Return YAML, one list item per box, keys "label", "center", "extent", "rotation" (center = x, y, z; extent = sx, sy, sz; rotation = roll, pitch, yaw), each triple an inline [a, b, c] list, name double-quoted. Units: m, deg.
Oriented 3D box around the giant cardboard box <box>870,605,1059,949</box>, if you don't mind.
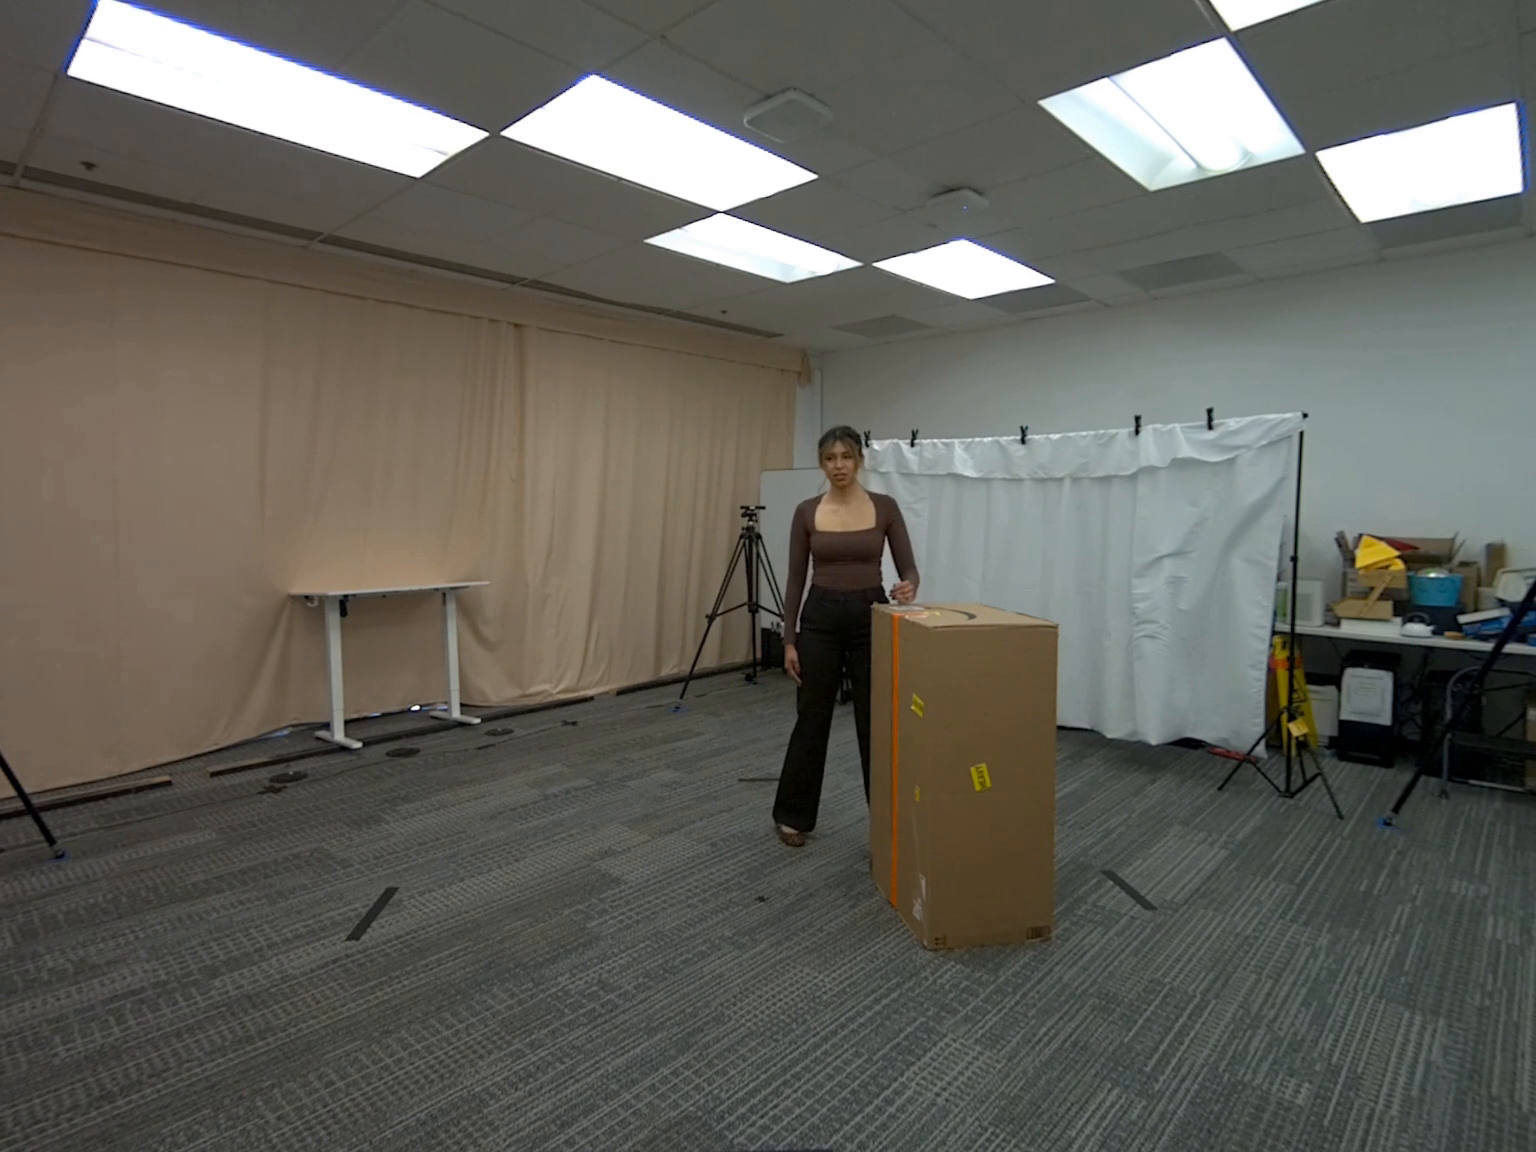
- label: "giant cardboard box"
  center: [0.651, 0.638, 2.913]
  extent: [0.442, 1.025, 0.591]
  rotation: [0, 3, -11]
